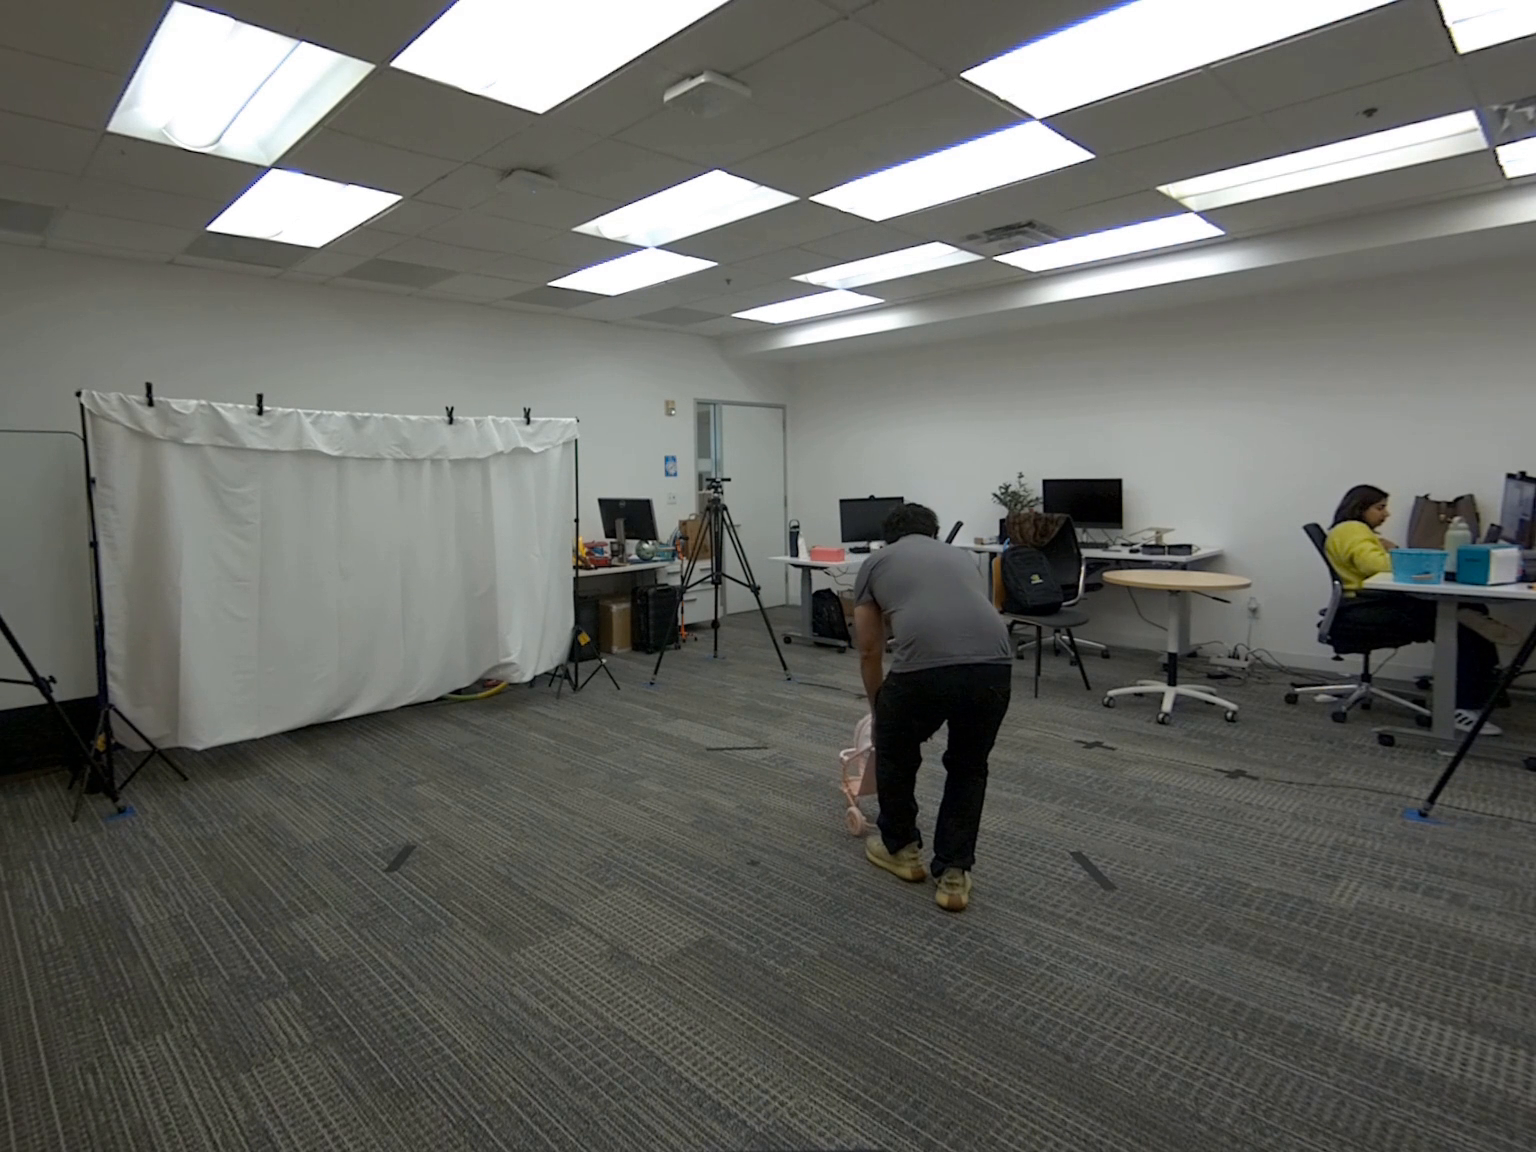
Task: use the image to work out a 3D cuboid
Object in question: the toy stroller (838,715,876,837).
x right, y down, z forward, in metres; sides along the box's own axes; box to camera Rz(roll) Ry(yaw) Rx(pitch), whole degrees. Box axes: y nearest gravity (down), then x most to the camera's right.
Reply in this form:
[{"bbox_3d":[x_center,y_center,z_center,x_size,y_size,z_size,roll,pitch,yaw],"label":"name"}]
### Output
[{"bbox_3d":[0.430,0.772,3.419,0.277,0.527,0.352,-1,21,-17],"label":"toy stroller"}]
